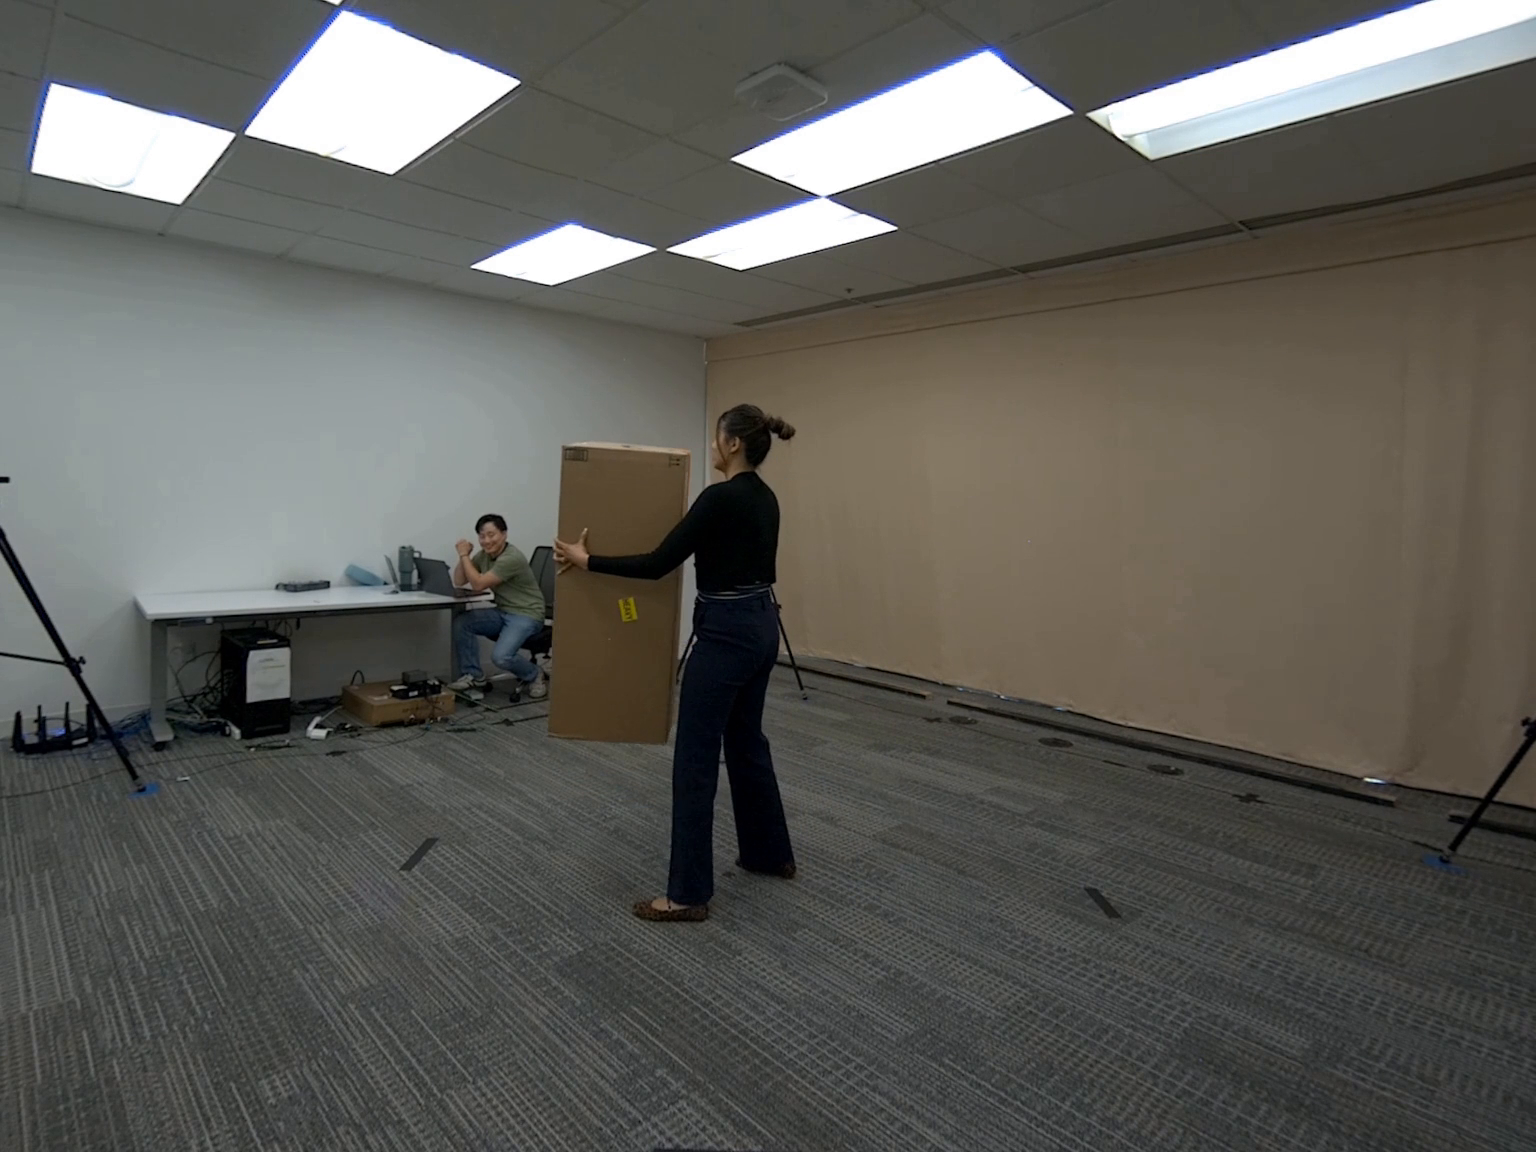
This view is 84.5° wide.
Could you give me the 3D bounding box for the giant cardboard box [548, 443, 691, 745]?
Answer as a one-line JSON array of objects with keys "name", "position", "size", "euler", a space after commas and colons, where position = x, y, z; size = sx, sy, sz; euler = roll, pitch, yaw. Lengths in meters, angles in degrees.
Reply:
[{"name": "giant cardboard box", "position": [-0.548, 0.028, 3.171], "size": [0.425, 1.020, 0.582], "euler": [4, 8, -4]}]
